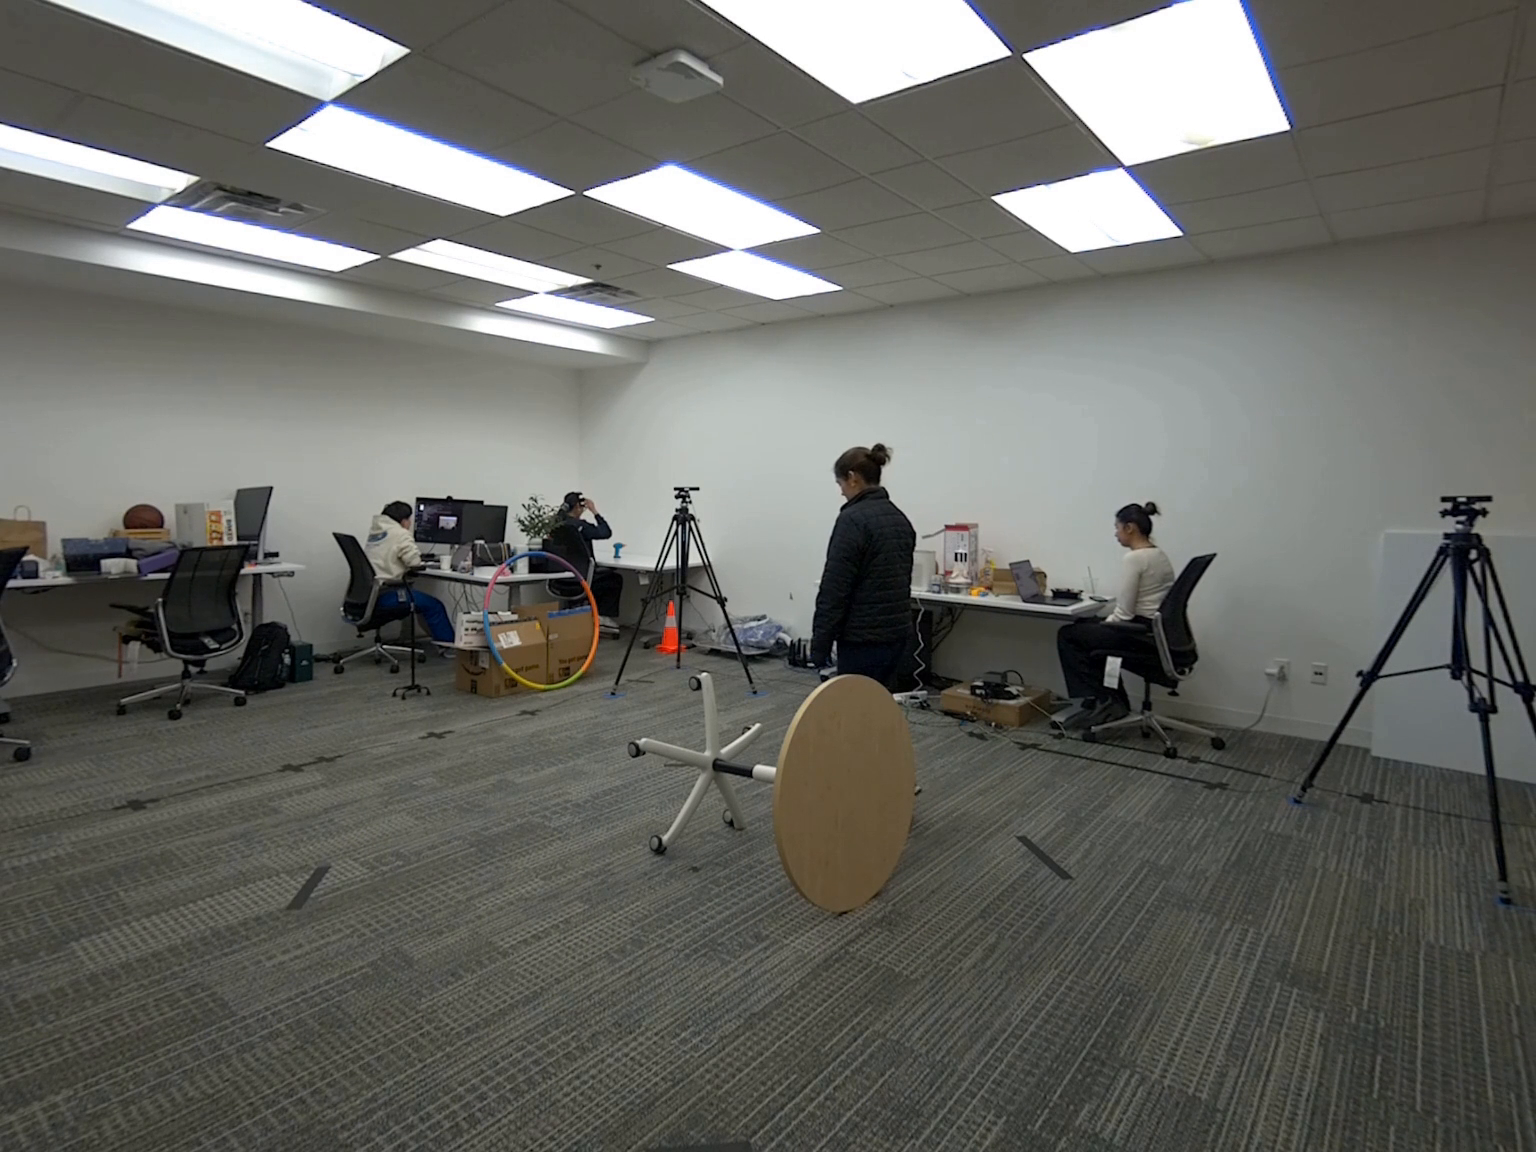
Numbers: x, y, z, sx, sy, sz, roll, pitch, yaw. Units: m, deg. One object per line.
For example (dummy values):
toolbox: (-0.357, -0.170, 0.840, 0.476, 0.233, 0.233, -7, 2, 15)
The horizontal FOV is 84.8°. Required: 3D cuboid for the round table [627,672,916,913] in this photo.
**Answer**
round table: (0.009, 0.727, 3.156, 0.810, 0.785, 0.761, -3, 1, 45)
